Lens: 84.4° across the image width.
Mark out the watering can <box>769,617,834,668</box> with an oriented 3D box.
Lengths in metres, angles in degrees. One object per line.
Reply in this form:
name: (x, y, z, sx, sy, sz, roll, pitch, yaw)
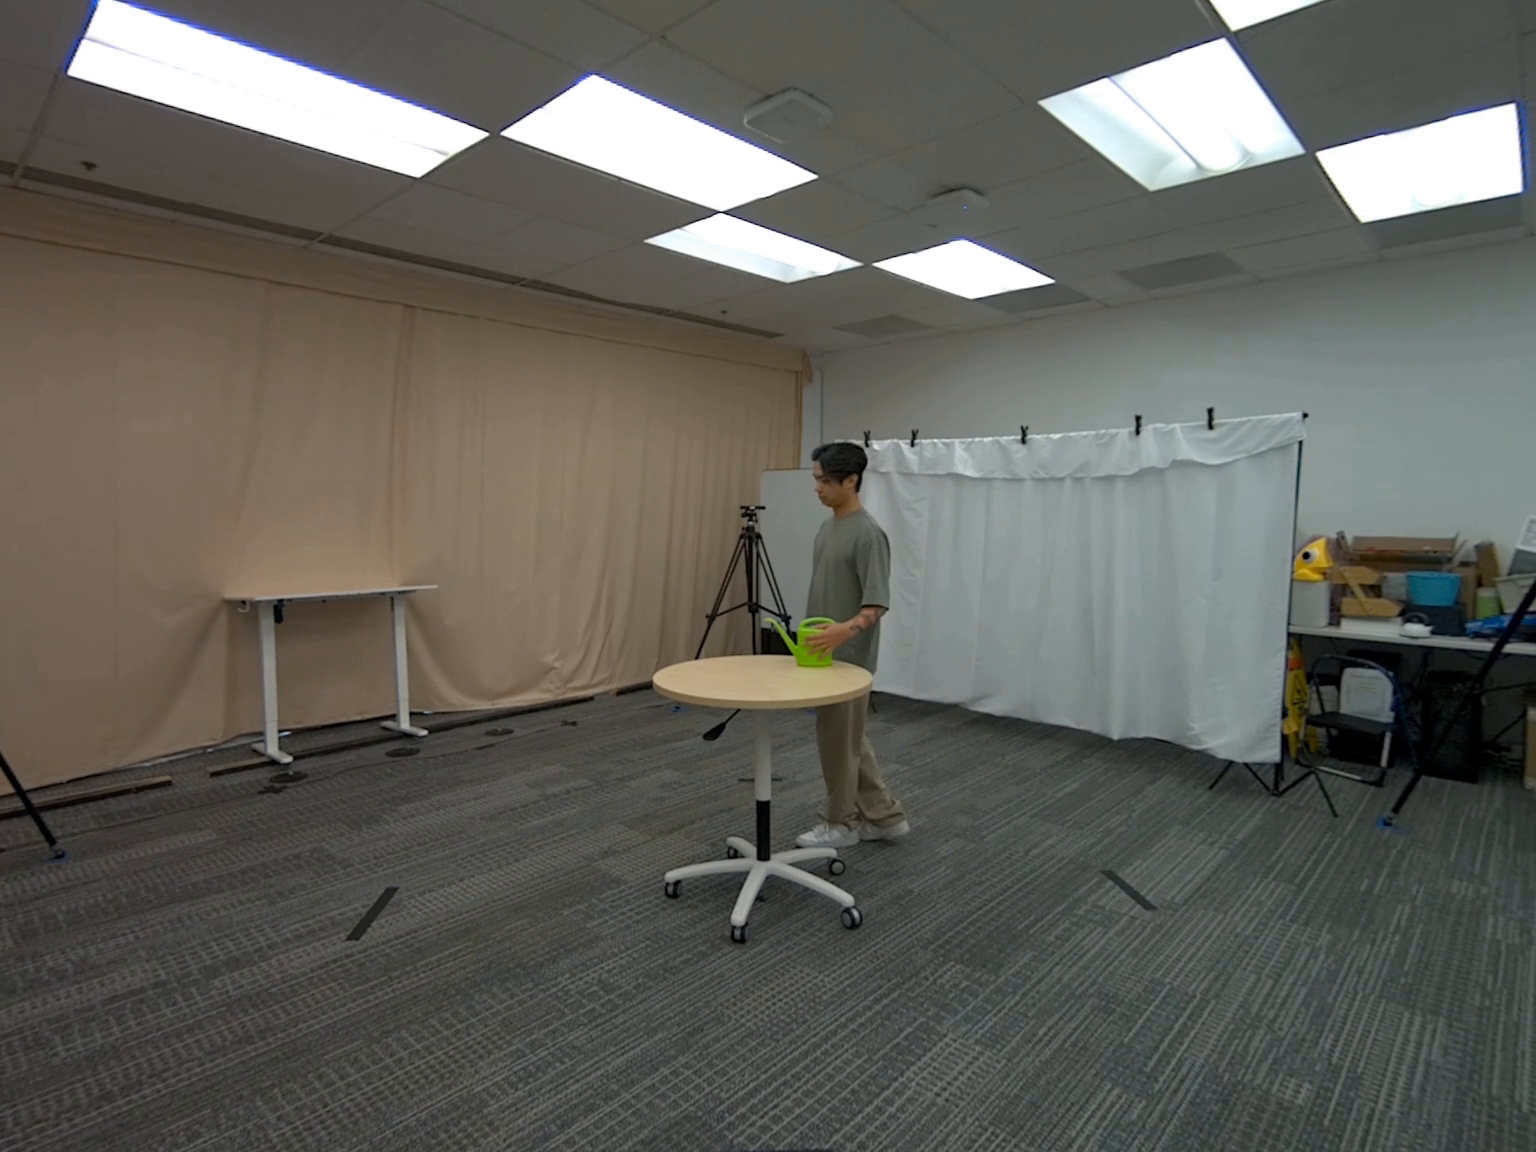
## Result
watering can: (0.136, 0.245, 3.140, 0.286, 0.176, 0.095, 3, 3, 30)
